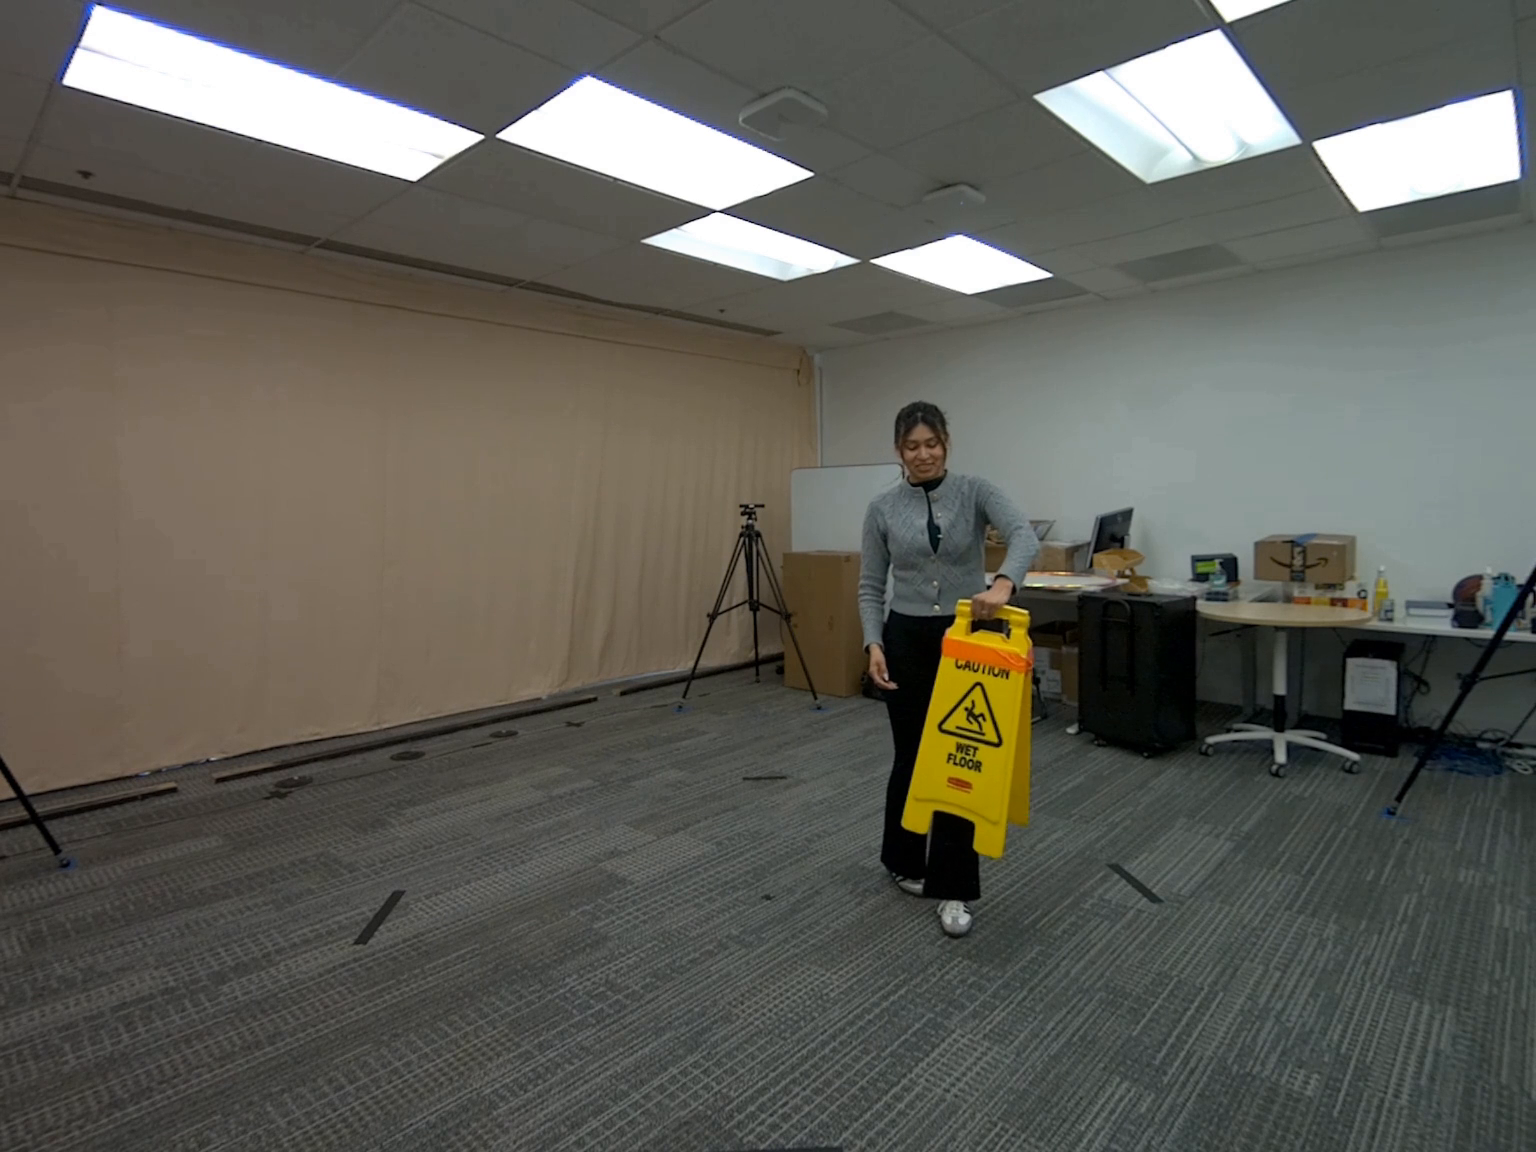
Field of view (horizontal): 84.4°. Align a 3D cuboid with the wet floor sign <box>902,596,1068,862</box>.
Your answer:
[{"bbox_3d":[0.607,0.395,2.378,0.291,0.644,0.281,11,7,30],"label":"wet floor sign"}]
